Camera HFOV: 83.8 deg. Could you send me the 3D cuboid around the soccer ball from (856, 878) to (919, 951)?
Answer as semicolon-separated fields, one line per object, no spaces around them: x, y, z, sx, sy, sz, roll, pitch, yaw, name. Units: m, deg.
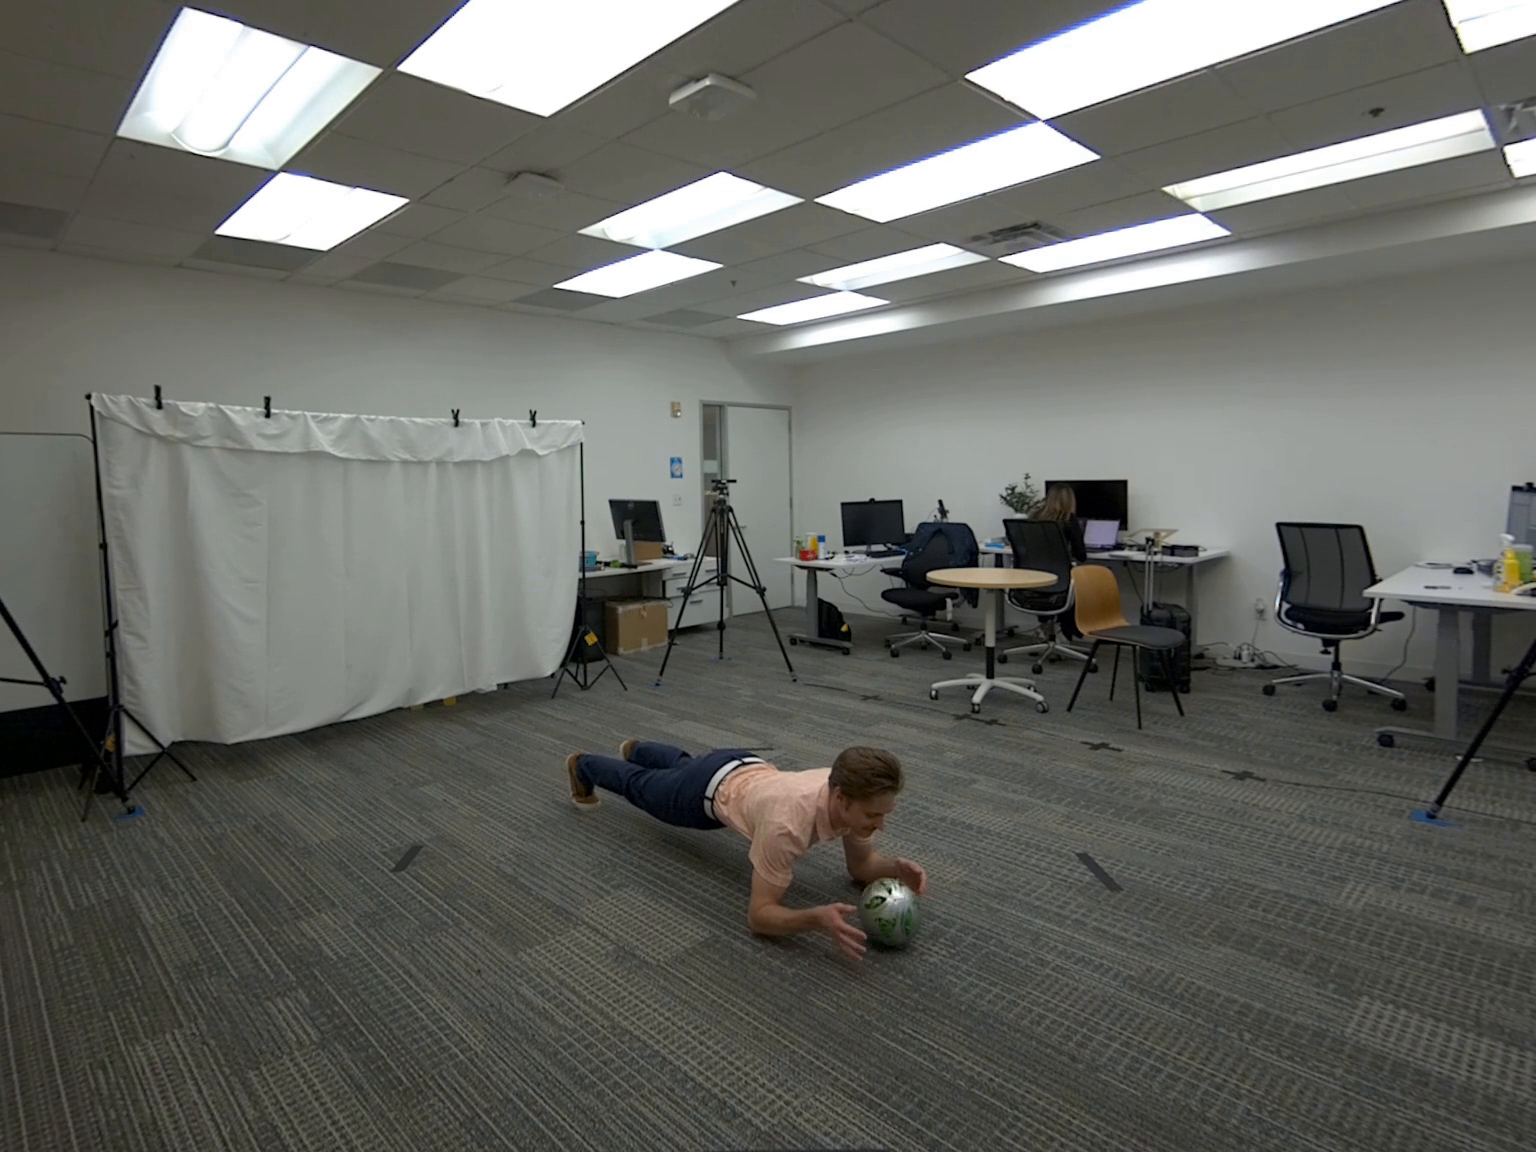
0.355;1.009;2.555;0.187;0.187;0.188;-1;5;-2;soccer ball
